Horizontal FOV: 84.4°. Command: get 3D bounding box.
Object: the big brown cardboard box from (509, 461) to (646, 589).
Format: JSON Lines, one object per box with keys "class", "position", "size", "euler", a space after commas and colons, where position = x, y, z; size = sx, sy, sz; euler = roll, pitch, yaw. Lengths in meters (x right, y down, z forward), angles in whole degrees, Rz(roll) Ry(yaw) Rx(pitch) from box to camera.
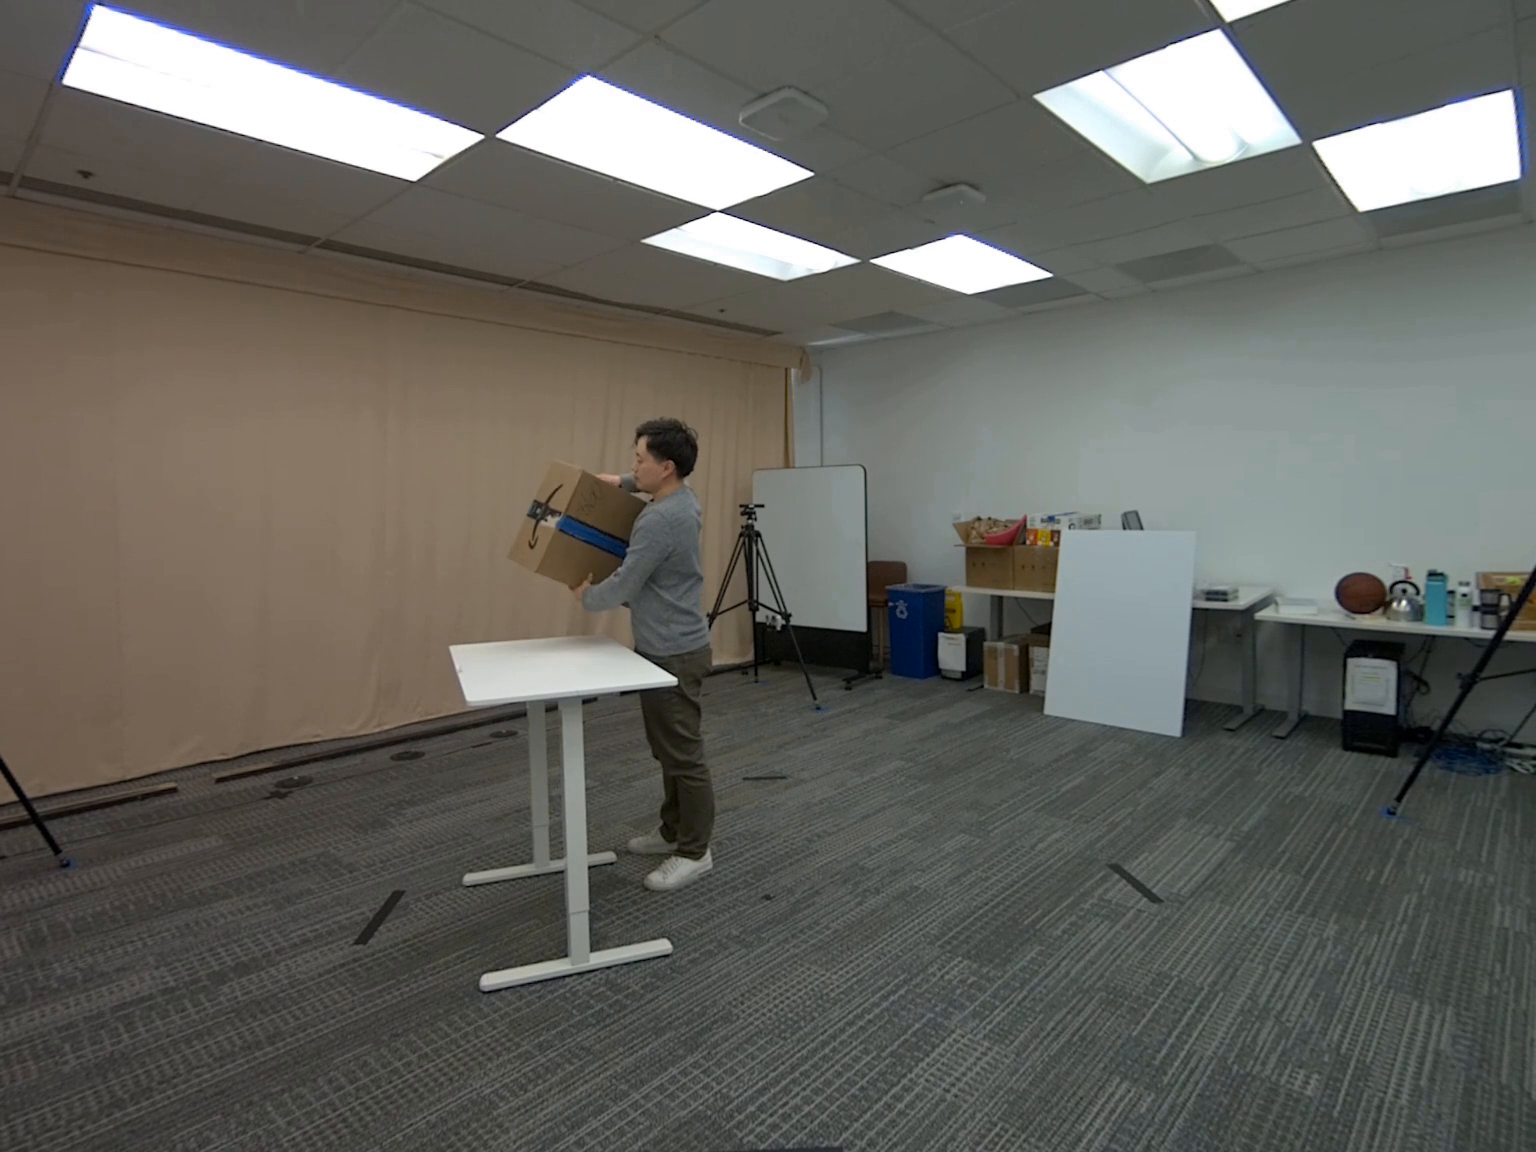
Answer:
{"class": "big brown cardboard box", "position": [-0.666, -0.143, 3.324], "size": [0.242, 0.418, 0.567], "euler": [20, -4, 44]}
